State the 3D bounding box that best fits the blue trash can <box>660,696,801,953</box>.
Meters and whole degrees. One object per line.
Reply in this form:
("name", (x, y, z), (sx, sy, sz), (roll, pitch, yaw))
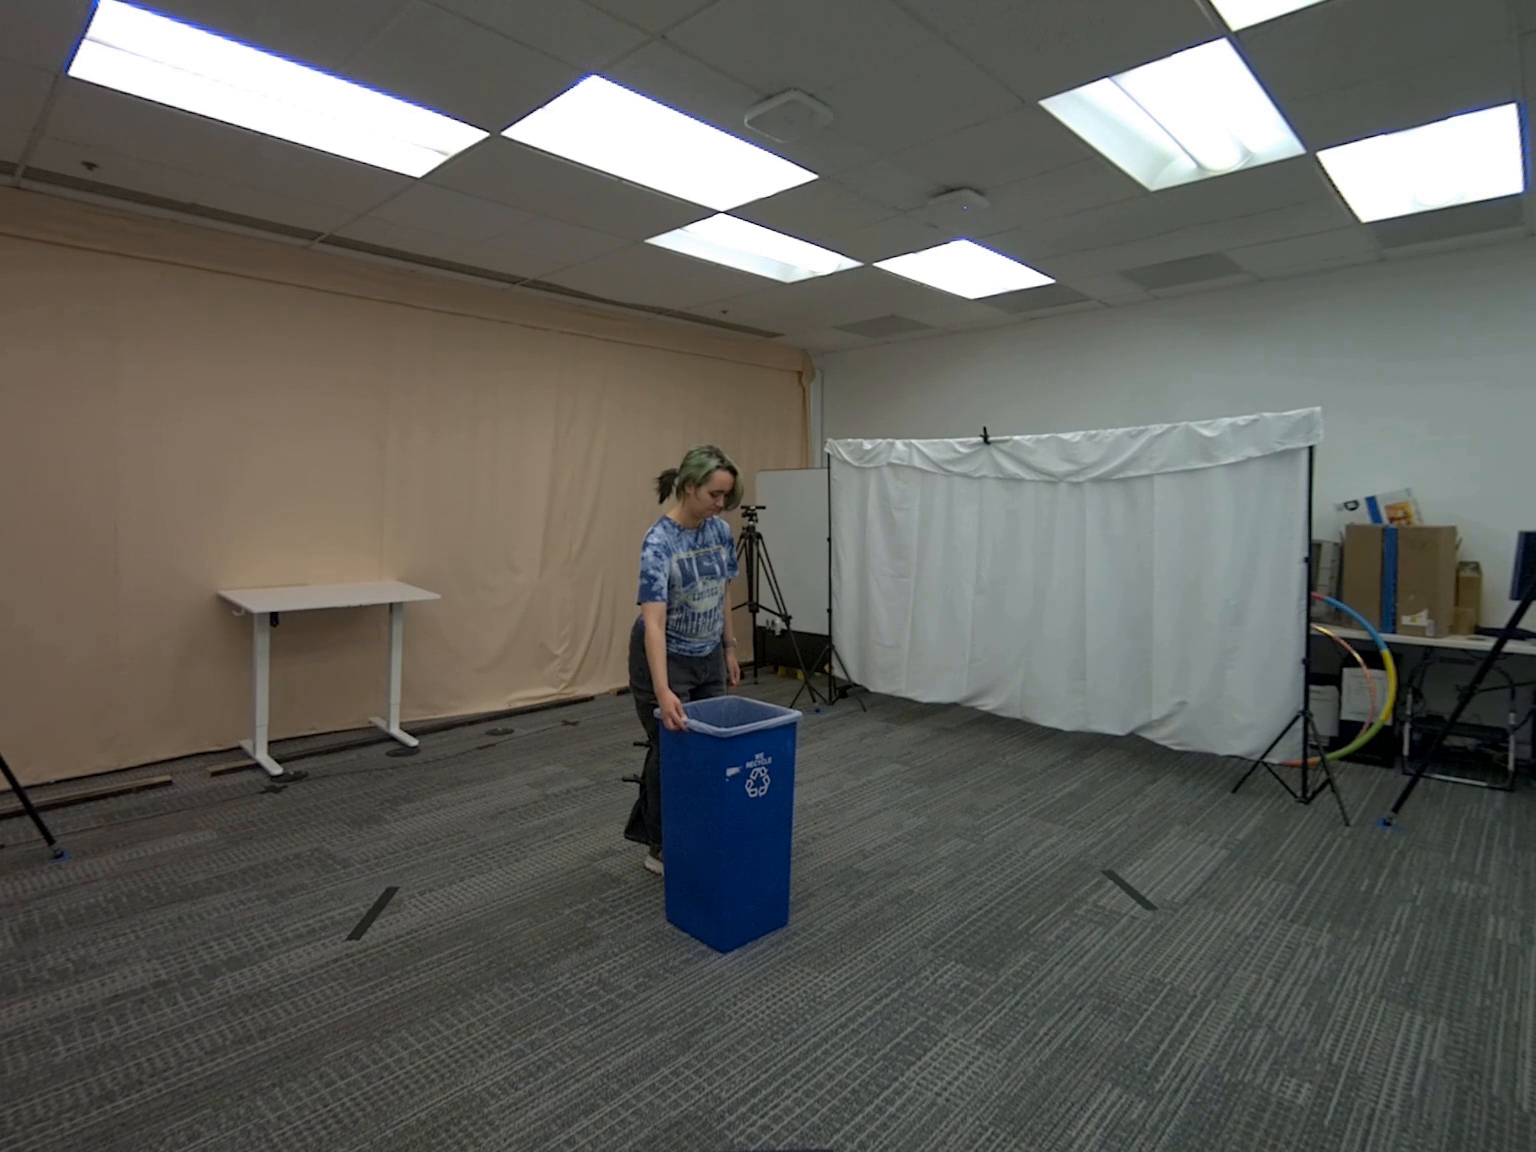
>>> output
("blue trash can", (-0.127, 0.801, 2.807), (0.362, 0.712, 0.391), (-3, 5, -43))
